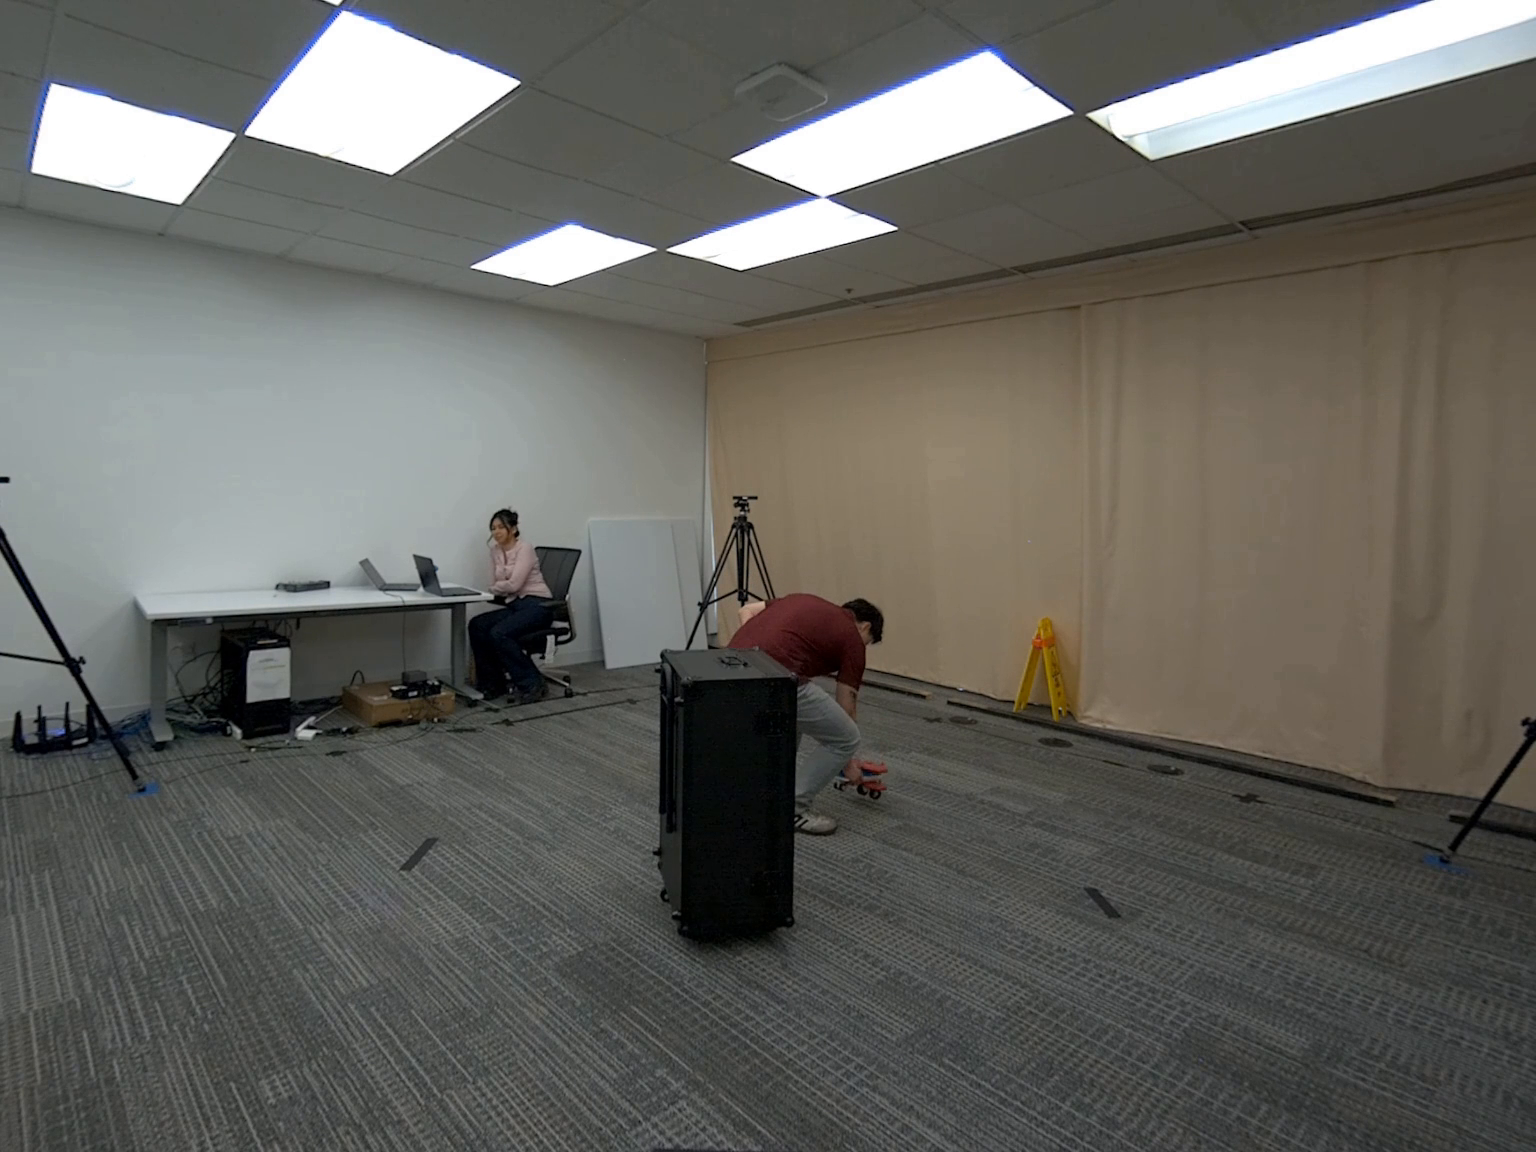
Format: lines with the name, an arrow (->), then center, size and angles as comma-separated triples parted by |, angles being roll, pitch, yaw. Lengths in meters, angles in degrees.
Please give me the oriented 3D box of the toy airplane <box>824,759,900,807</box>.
toy airplane -> 0.418, 0.924, 3.843 | 0.257, 0.157, 0.252 | 10, -11, 30
